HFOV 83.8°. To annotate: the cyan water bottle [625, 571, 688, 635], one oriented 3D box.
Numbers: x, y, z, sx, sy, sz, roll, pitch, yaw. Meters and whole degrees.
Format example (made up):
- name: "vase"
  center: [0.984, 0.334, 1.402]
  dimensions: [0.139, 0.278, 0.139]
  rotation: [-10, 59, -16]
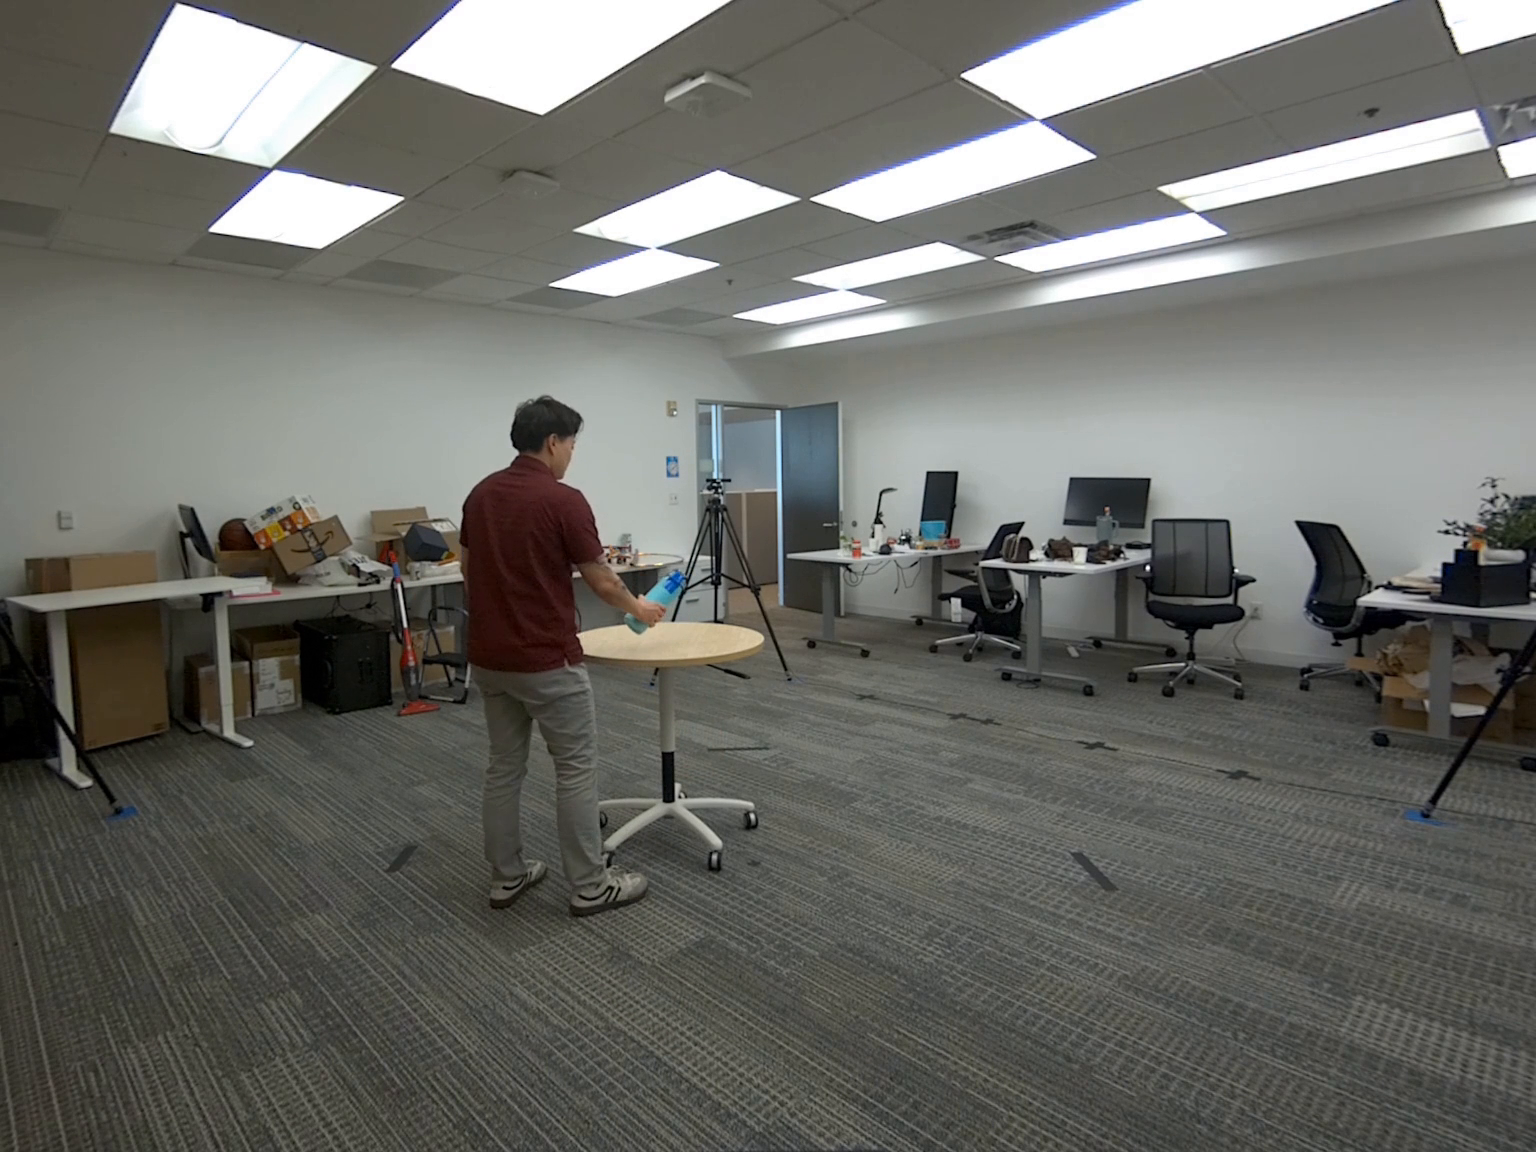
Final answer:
- name: "cyan water bottle"
  center: [-0.403, 0.090, 3.133]
  dimensions: [0.283, 0.090, 0.095]
  rotation: [-47, 28, -26]
